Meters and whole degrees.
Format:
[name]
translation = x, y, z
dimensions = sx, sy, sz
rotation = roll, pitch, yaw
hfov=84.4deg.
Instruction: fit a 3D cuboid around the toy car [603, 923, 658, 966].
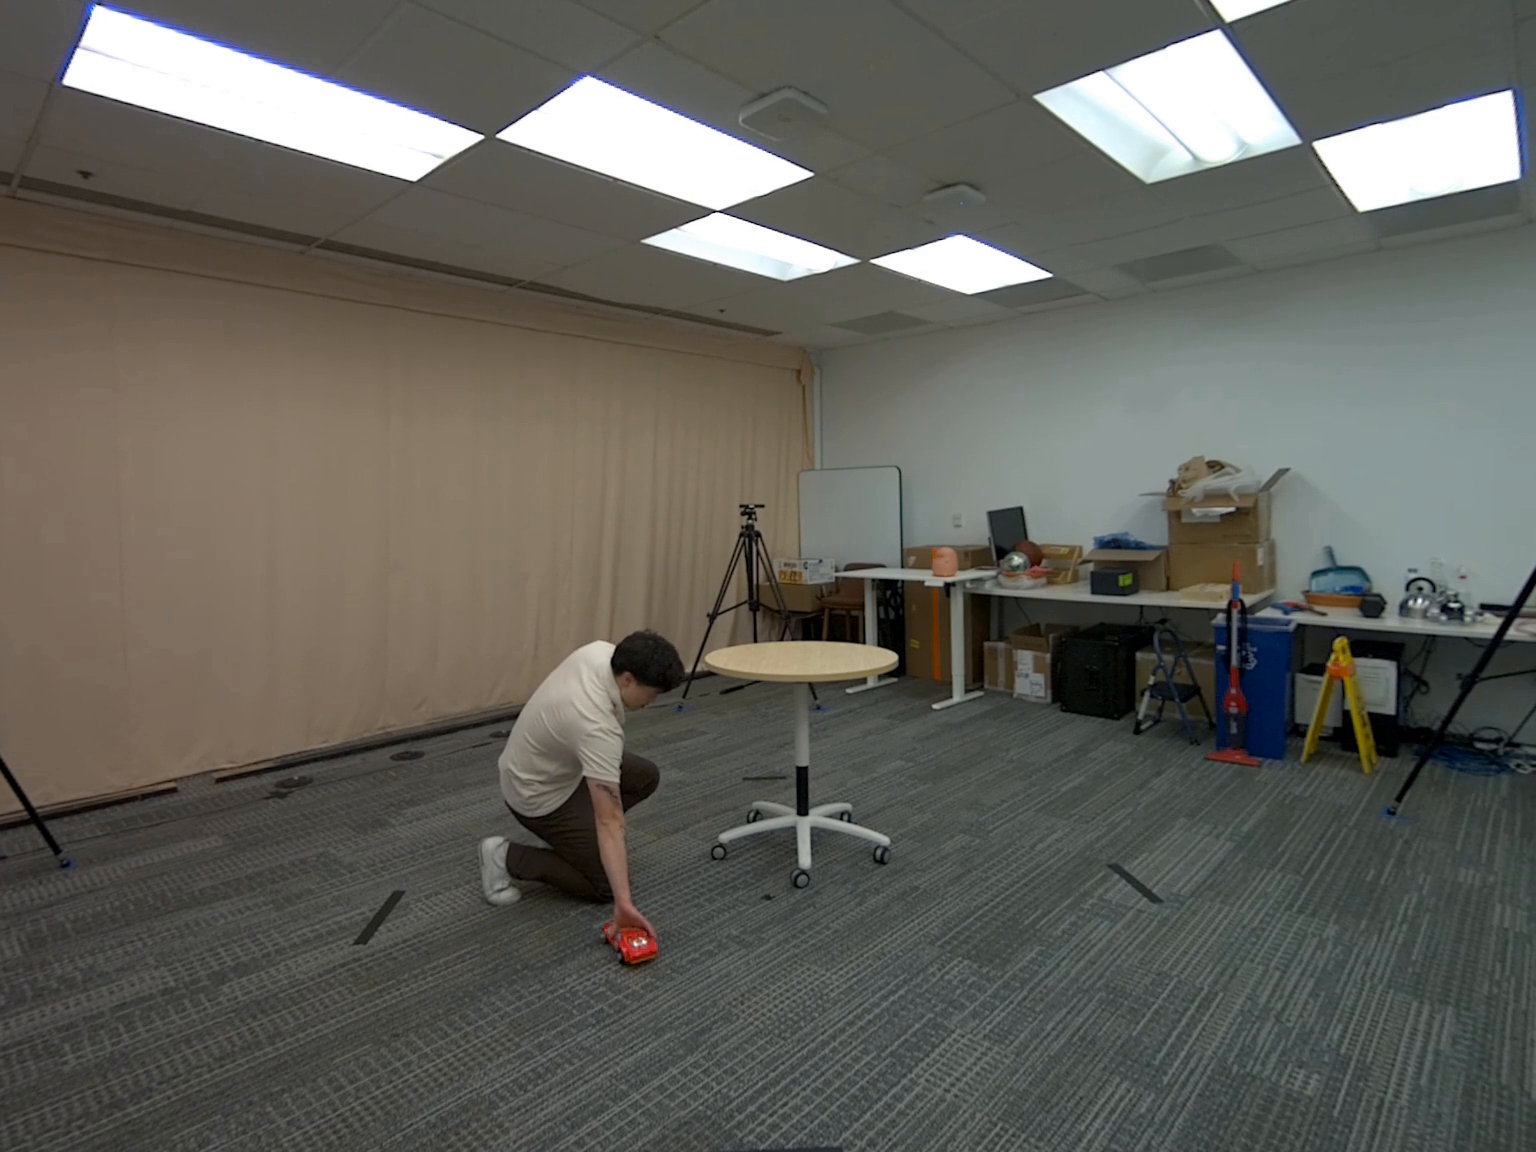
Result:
[toy car]
translation = -0.434, 1.151, 2.625
dimensions = 0.127, 0.083, 0.260
rotation = -3, -5, -29
